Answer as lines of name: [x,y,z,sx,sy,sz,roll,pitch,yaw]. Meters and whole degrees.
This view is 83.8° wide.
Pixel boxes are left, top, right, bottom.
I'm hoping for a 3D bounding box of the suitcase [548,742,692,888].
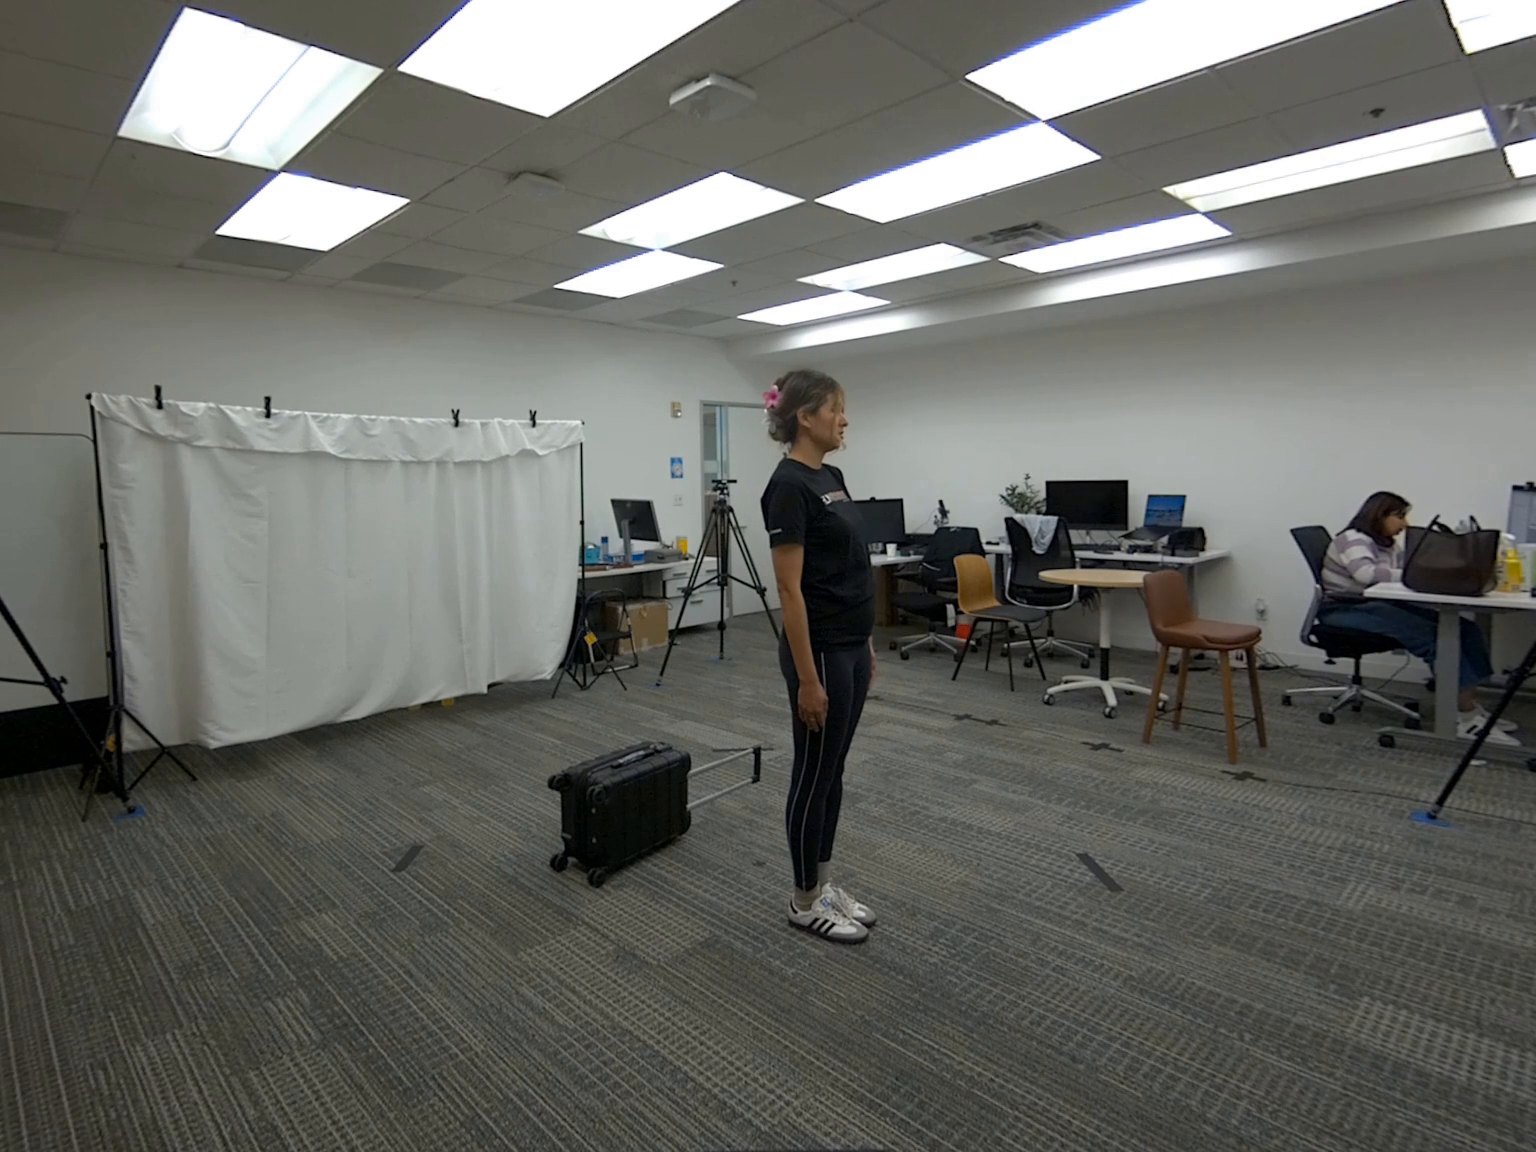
suitcase: [-0.416,0.837,3.376,0.264,0.382,0.955,2,7,36]
